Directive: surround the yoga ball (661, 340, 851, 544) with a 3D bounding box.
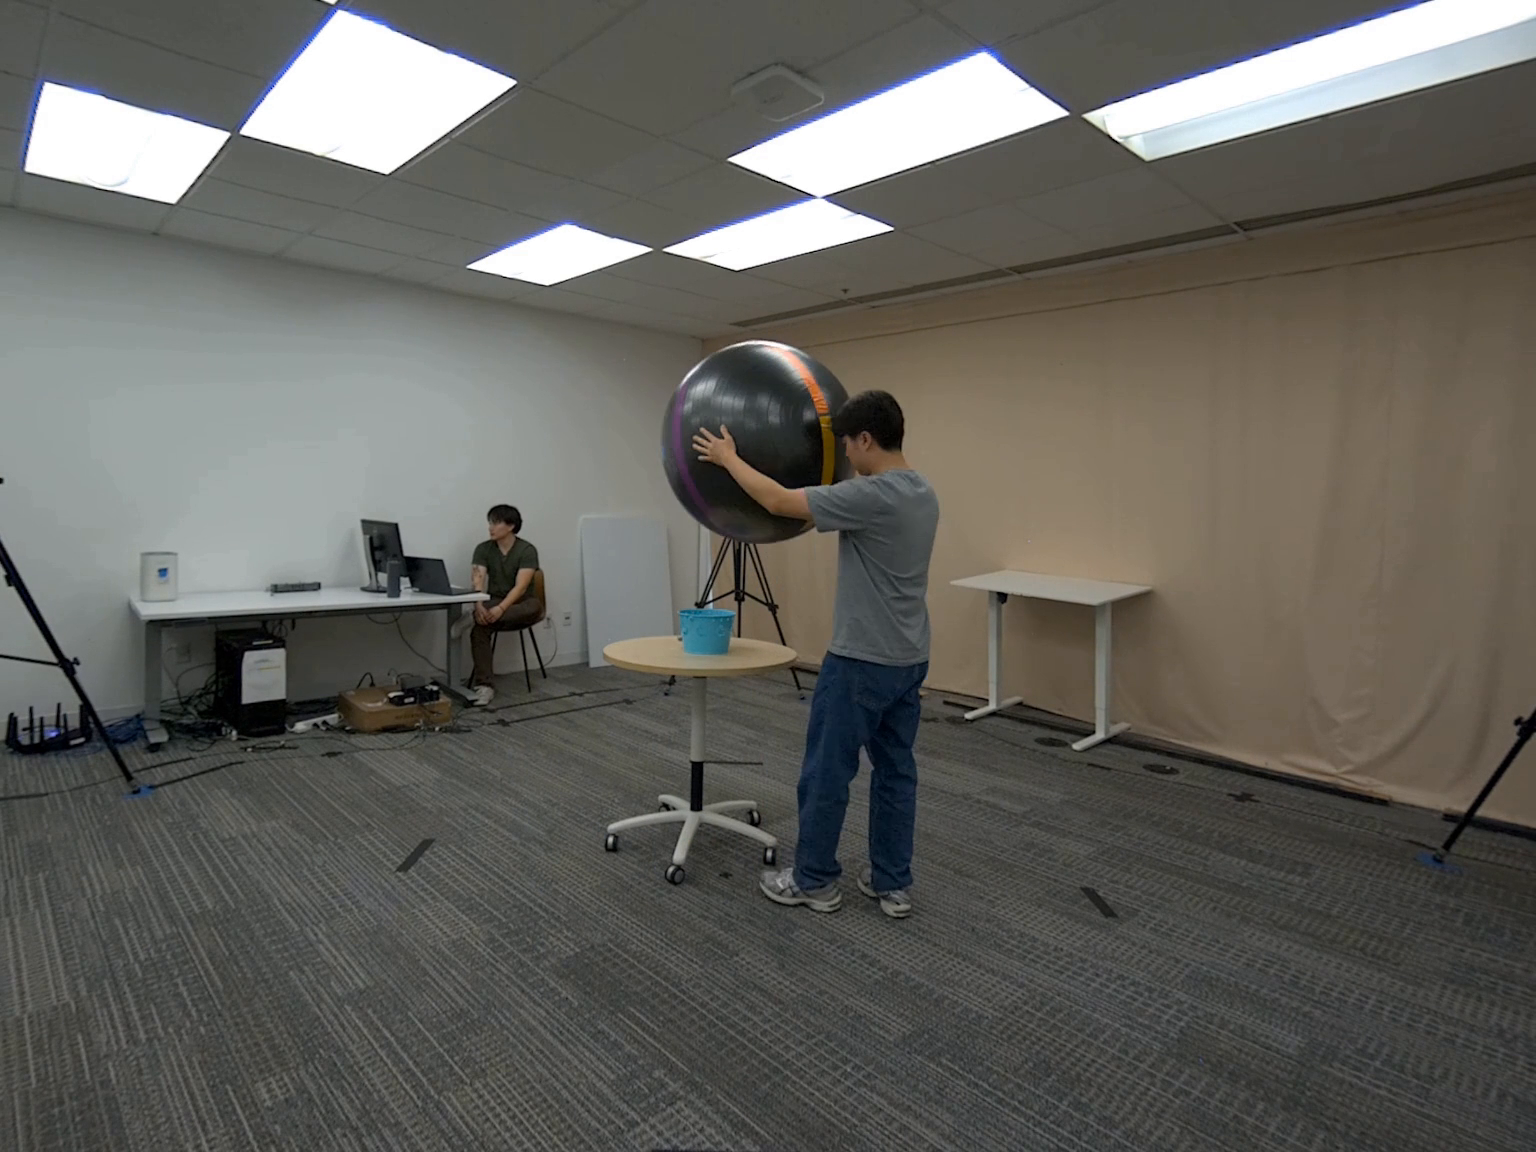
[{"bbox_3d":[-0.027,-0.492,3.192,0.757,0.756,0.761,1,4,-1],"label":"yoga ball"}]
